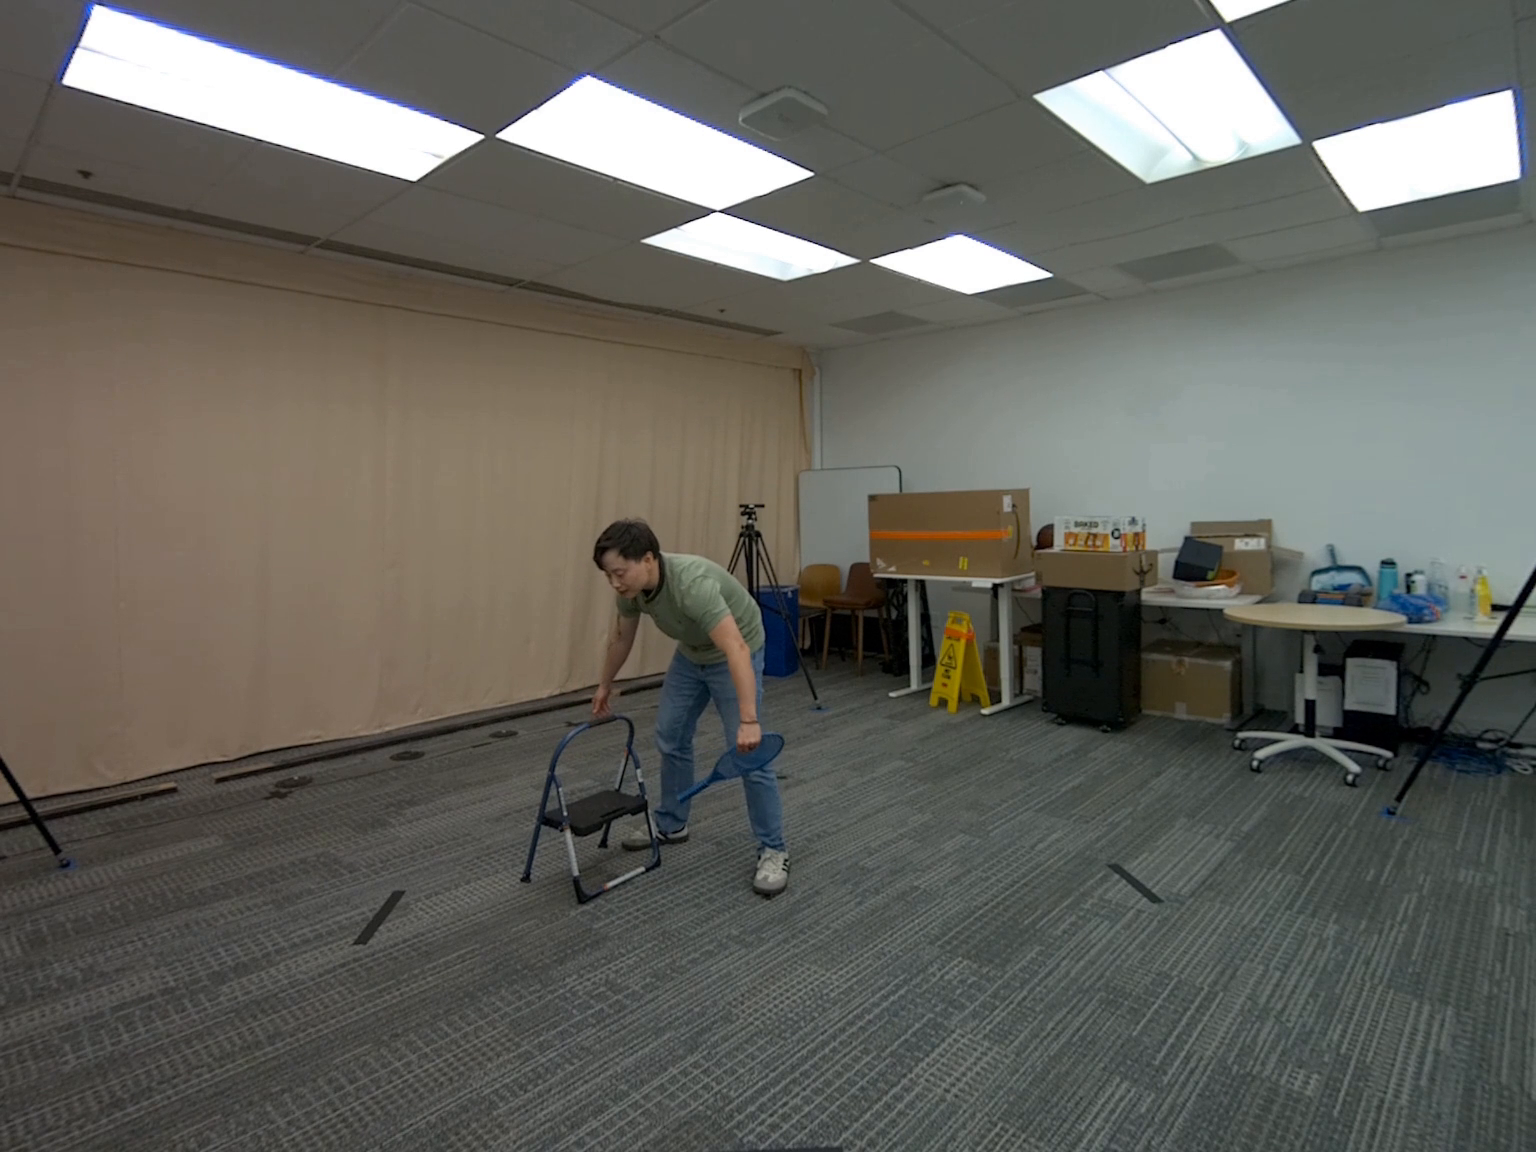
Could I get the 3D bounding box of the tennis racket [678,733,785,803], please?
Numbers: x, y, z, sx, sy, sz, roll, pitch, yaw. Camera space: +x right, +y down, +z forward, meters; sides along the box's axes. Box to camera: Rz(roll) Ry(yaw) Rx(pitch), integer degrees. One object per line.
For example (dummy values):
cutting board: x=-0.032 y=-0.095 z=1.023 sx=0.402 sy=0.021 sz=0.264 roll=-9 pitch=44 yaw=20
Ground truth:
tennis racket: x=-0.137 y=0.665 z=2.942 sx=0.435 sy=0.033 sz=0.206 roll=-33 pitch=-41 yaw=9
